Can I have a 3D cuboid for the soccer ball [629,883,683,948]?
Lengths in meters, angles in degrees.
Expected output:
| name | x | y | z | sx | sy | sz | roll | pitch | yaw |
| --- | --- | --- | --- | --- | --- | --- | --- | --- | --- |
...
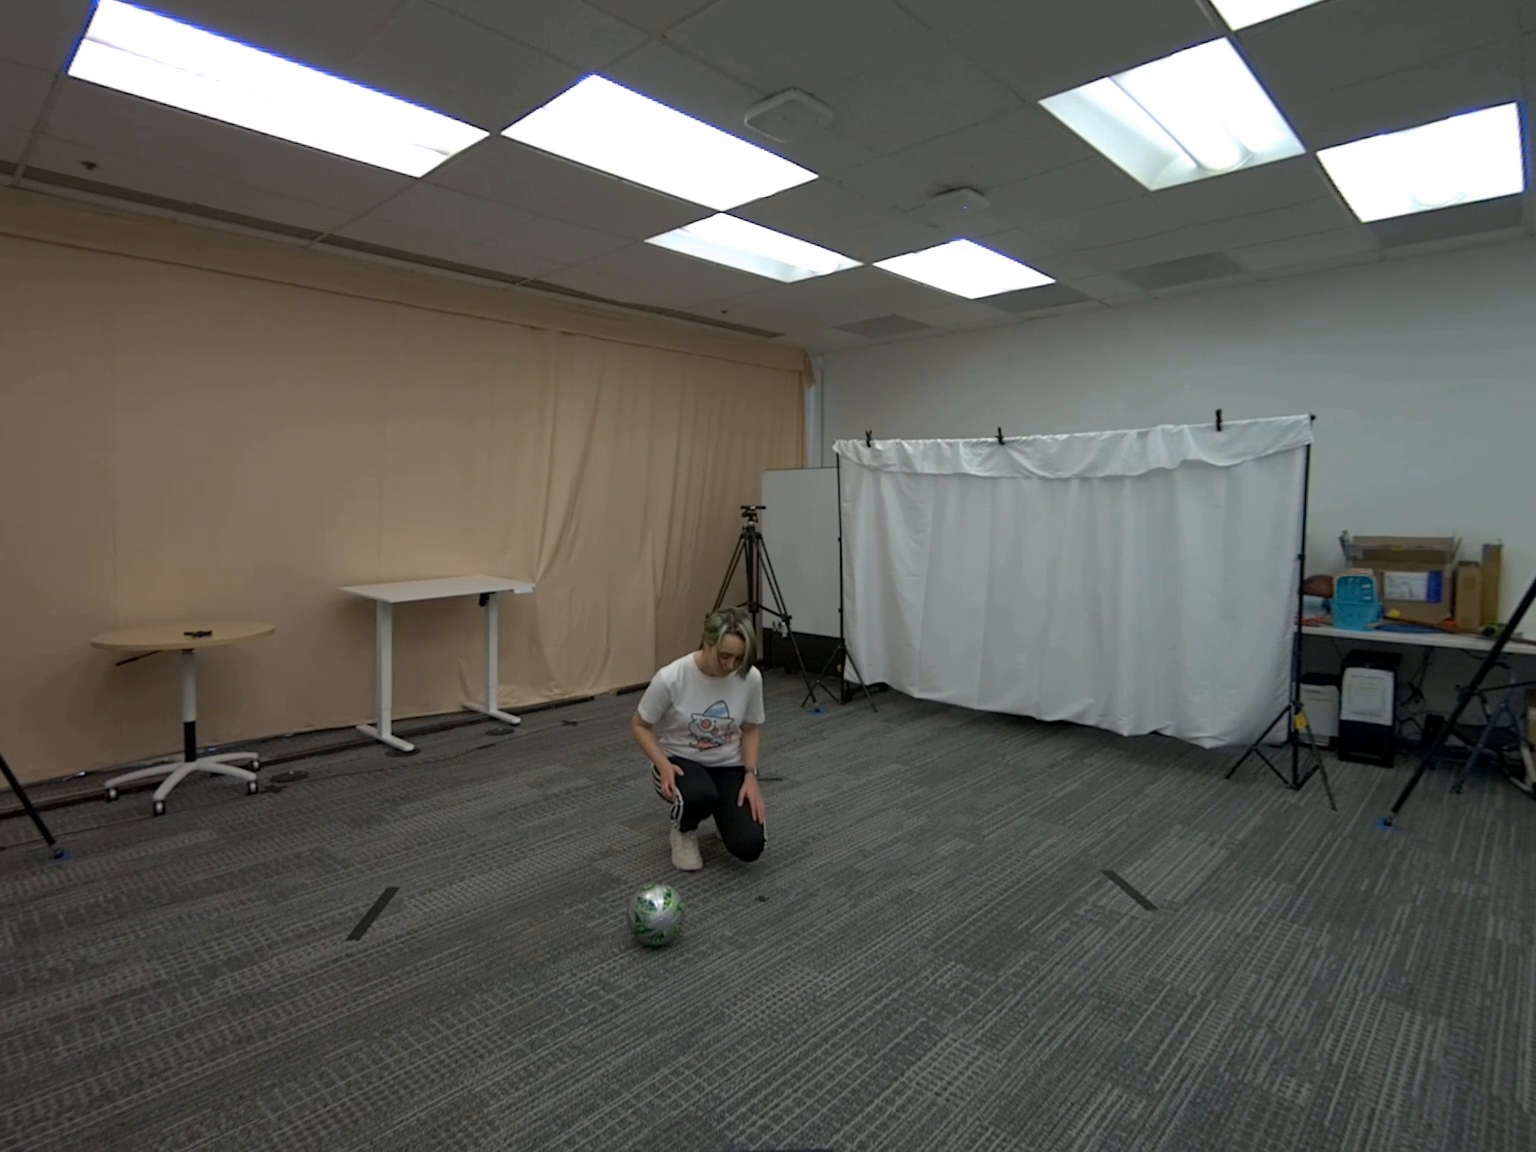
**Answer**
| name | x | y | z | sx | sy | sz | roll | pitch | yaw |
| --- | --- | --- | --- | --- | --- | --- | --- | --- | --- |
| soccer ball | -0.355 | 1.066 | 2.689 | 0.187 | 0.187 | 0.188 | 0 | 4 | -2 |
